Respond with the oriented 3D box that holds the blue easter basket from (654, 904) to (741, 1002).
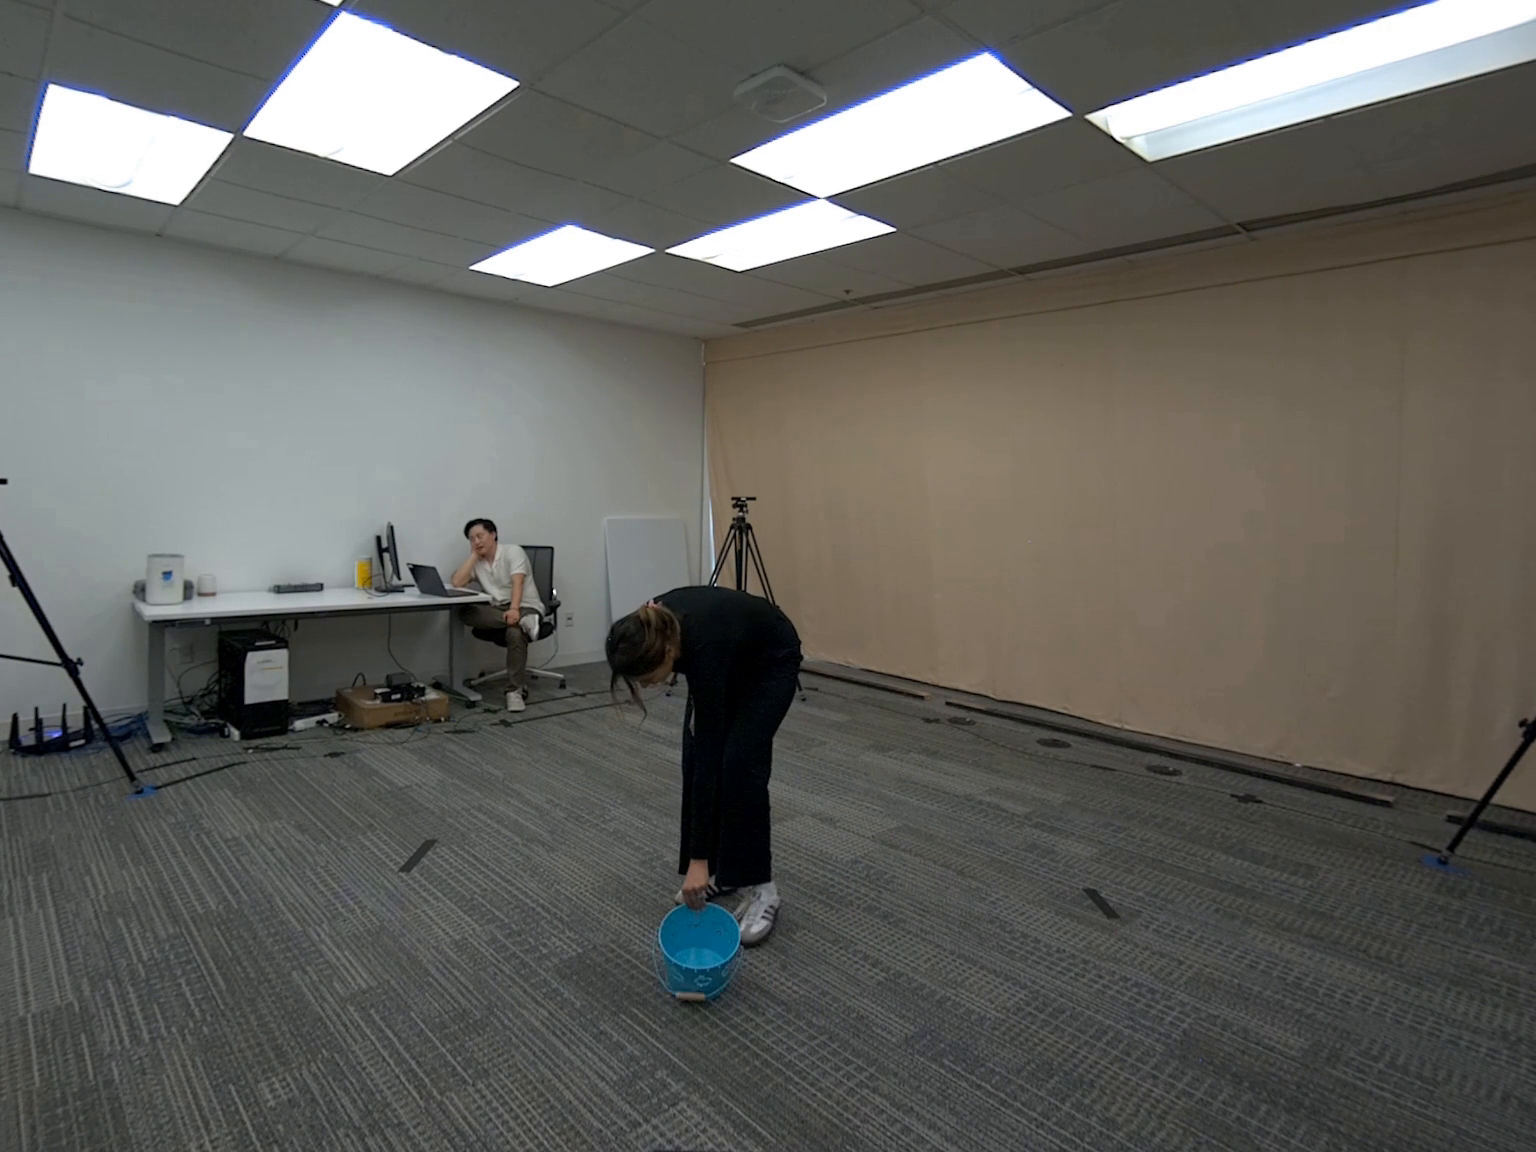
[{"bbox_3d":[-0.208,1.079,2.366,0.243,0.154,0.247,3,22,-3],"label":"blue easter basket"}]
